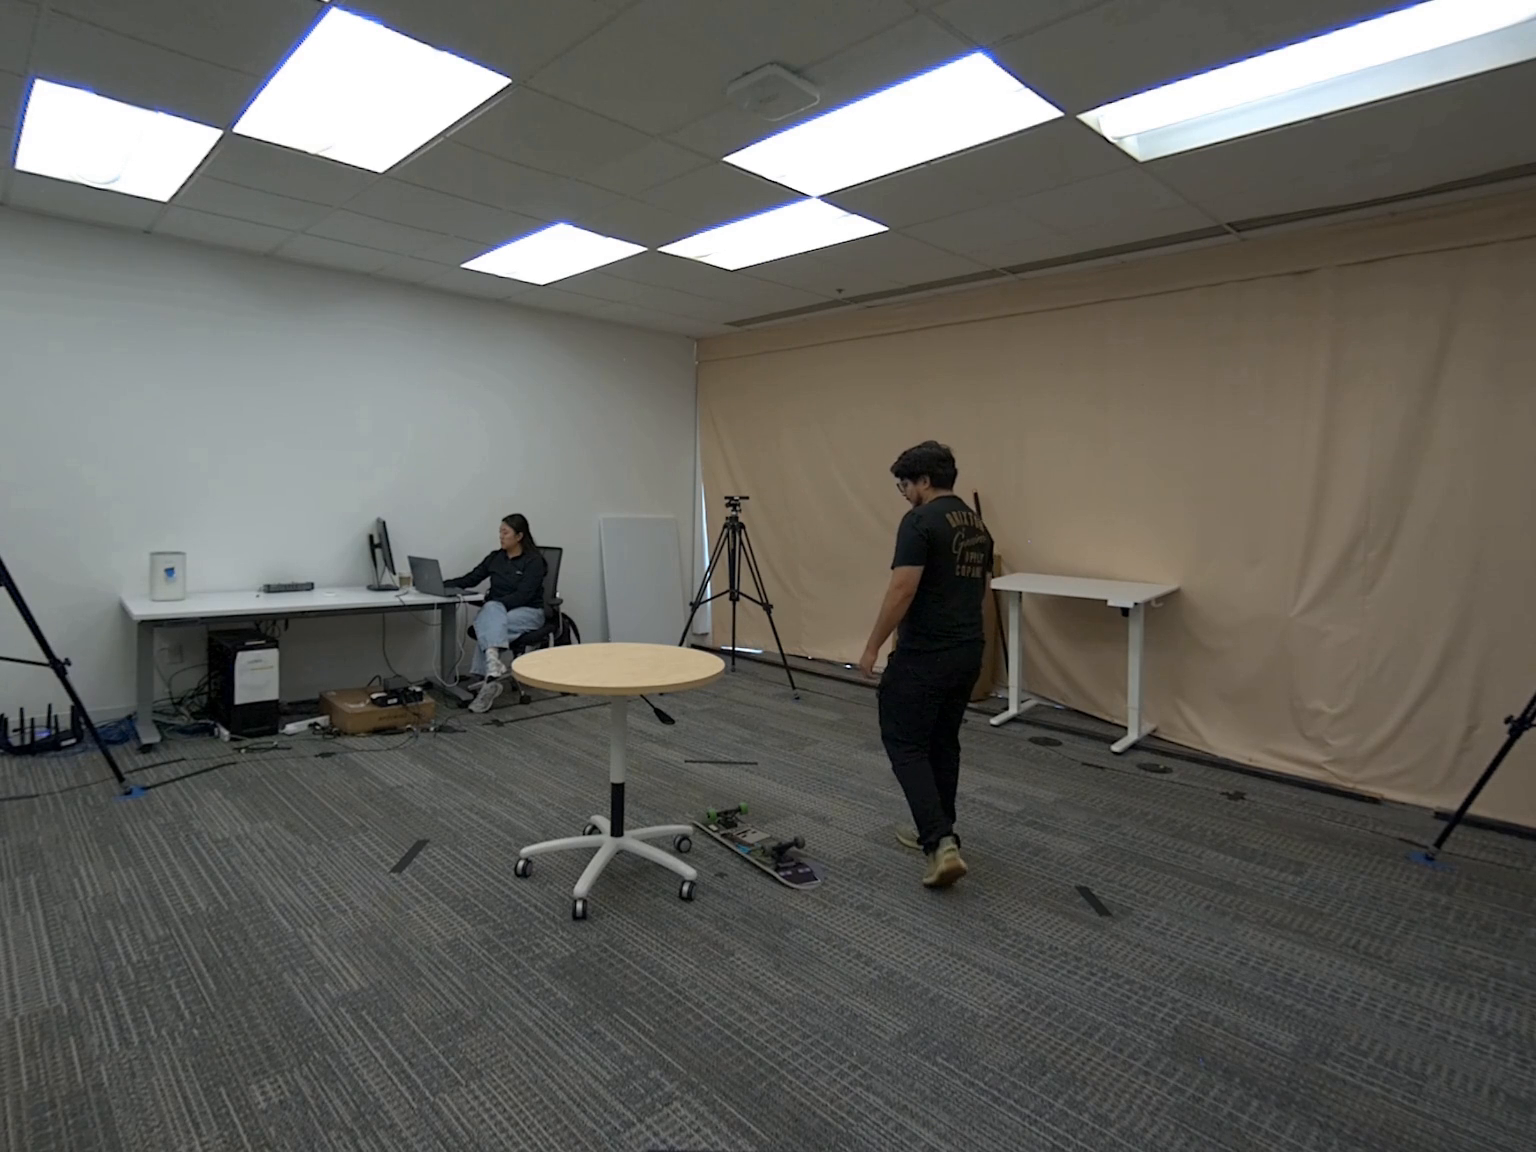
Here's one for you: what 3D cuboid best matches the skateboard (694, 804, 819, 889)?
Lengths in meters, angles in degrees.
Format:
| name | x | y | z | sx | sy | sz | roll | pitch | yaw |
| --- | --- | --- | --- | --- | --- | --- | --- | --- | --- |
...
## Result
| name | x | y | z | sx | sy | sz | roll | pitch | yaw |
| --- | --- | --- | --- | --- | --- | --- | --- | --- | --- |
| skateboard | -0.060 | 1.032 | 3.344 | 0.189 | 0.110 | 0.805 | -1 | 6 | -34 |
